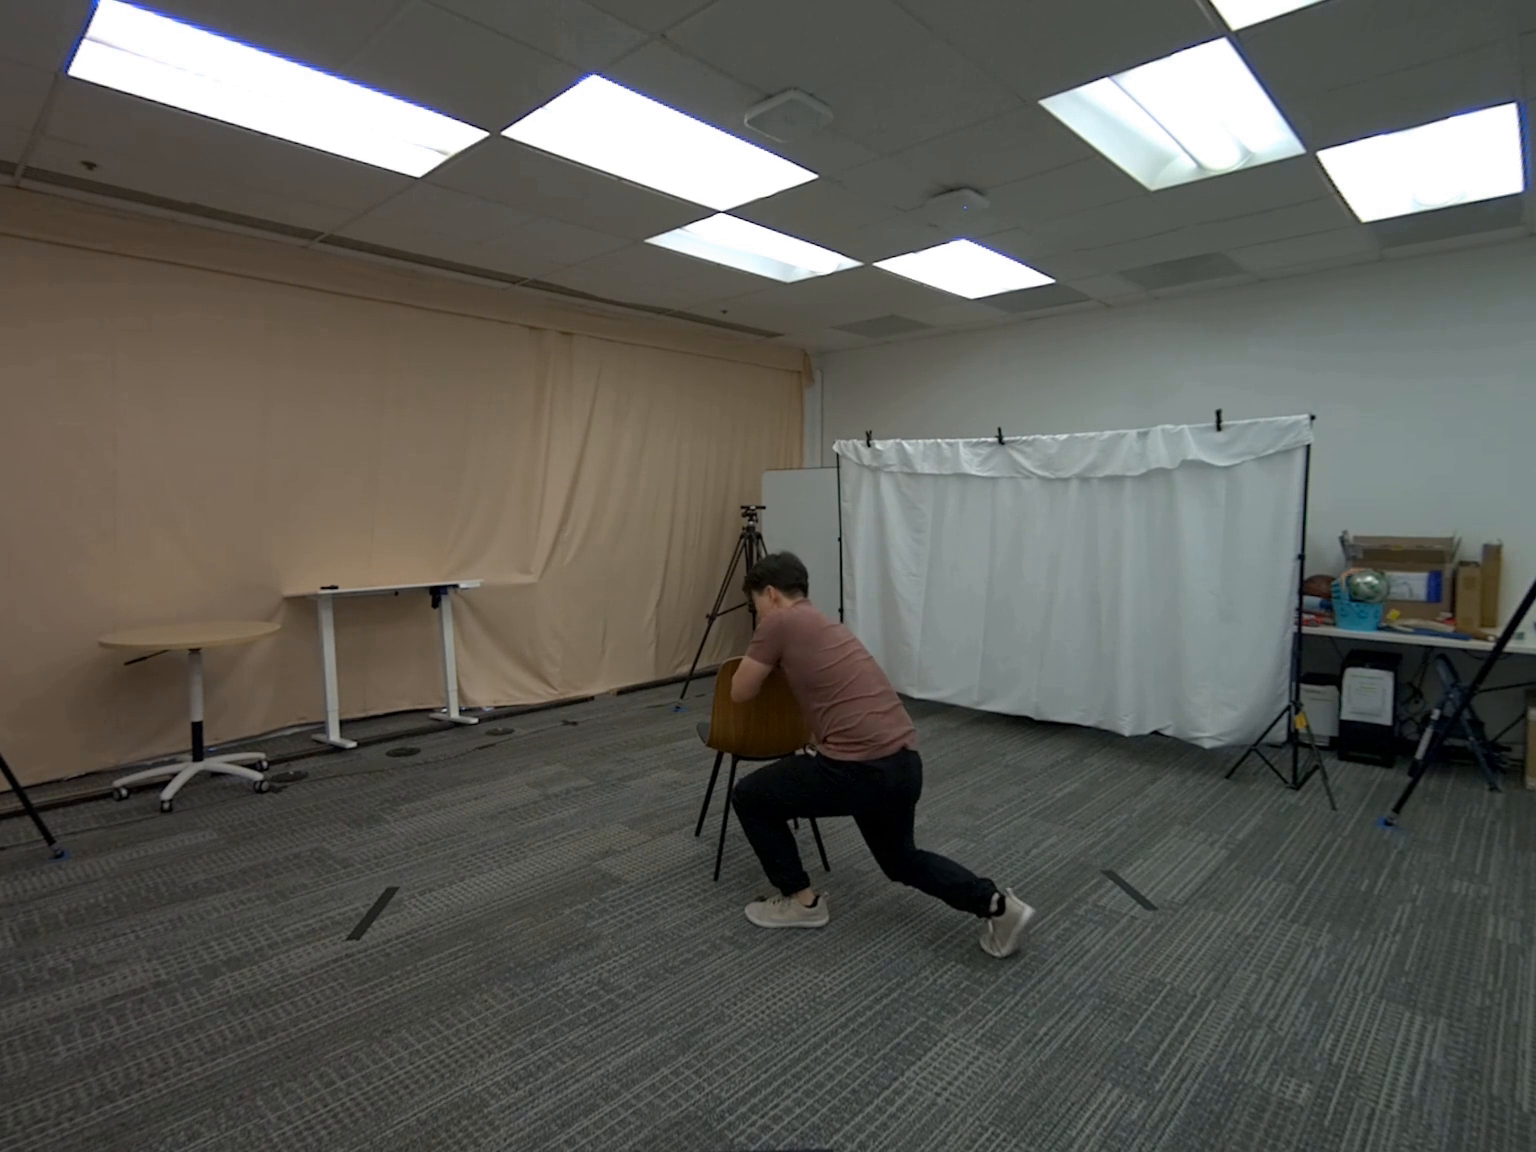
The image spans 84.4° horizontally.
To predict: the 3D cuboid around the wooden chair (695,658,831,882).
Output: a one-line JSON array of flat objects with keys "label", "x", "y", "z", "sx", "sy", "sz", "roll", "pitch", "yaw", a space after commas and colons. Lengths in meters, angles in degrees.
[{"label": "wooden chair", "x": -0.045, "y": 0.683, "z": 3.356, "sx": 0.472, "sy": 0.873, "sz": 0.532, "roll": -2, "pitch": 7, "yaw": -12}]
